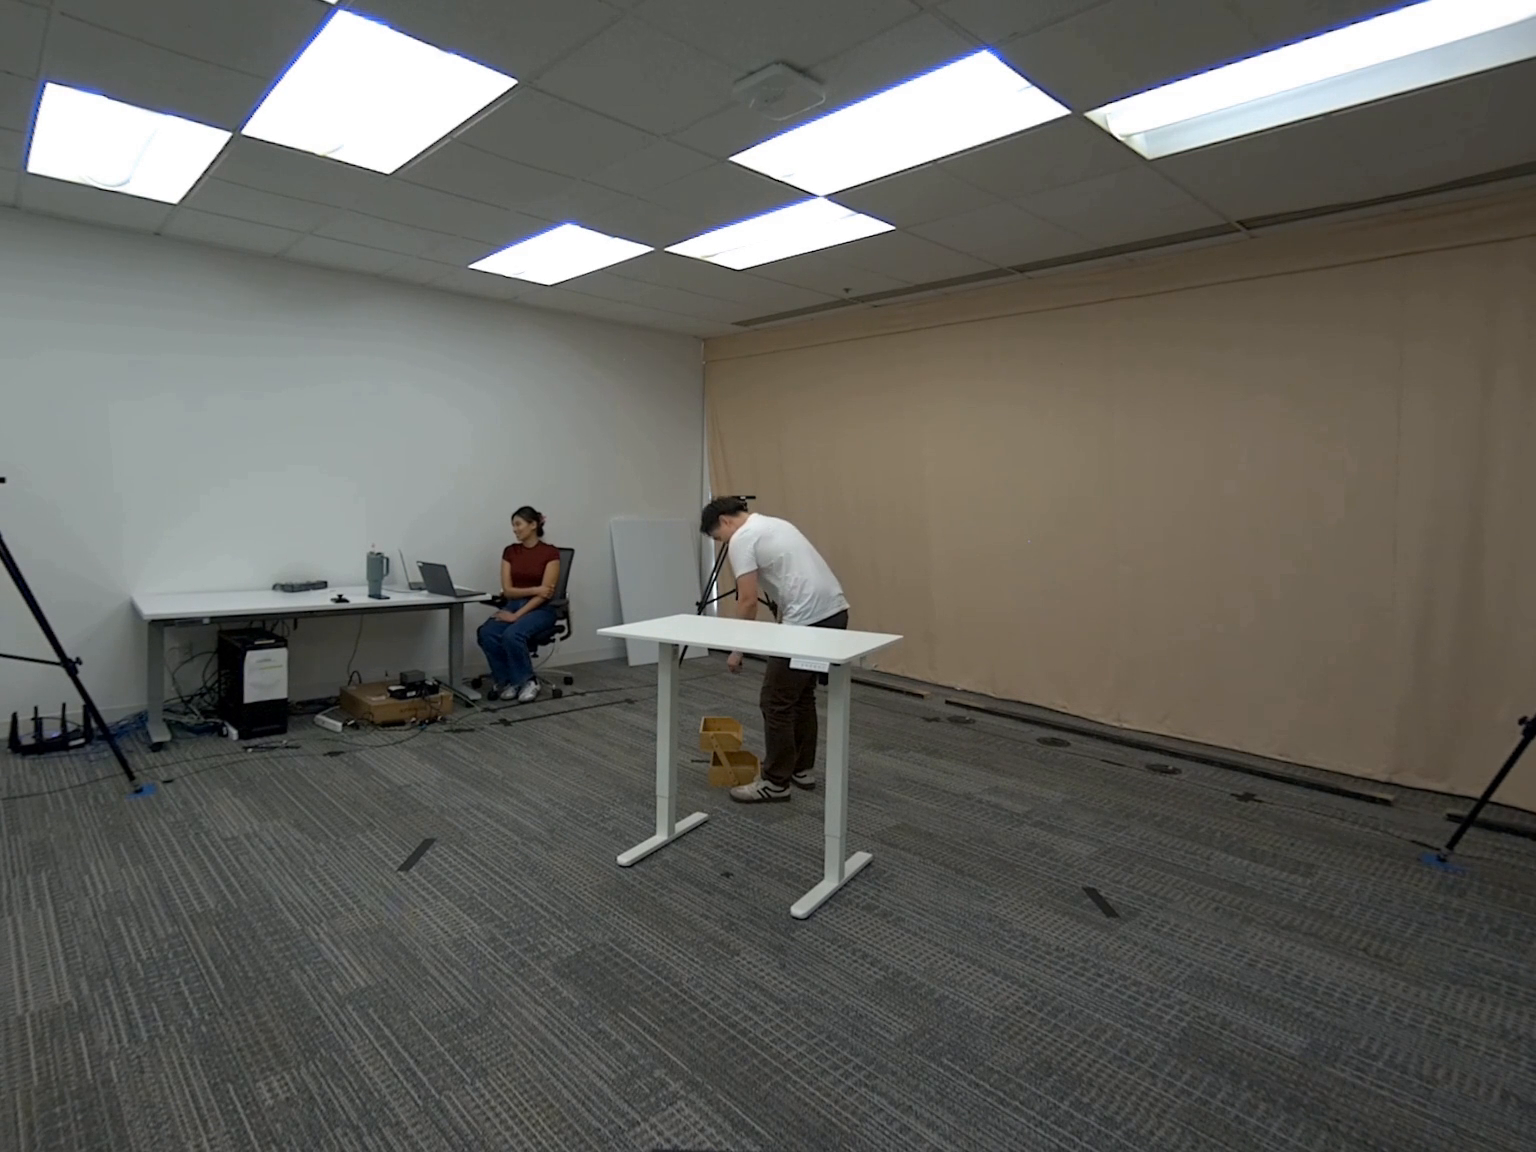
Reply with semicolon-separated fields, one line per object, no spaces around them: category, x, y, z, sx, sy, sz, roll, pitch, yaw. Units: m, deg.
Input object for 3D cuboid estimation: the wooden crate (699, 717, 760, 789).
wooden crate;-0.196;0.872;4.225;0.302;0.272;0.325;1;4;-1
